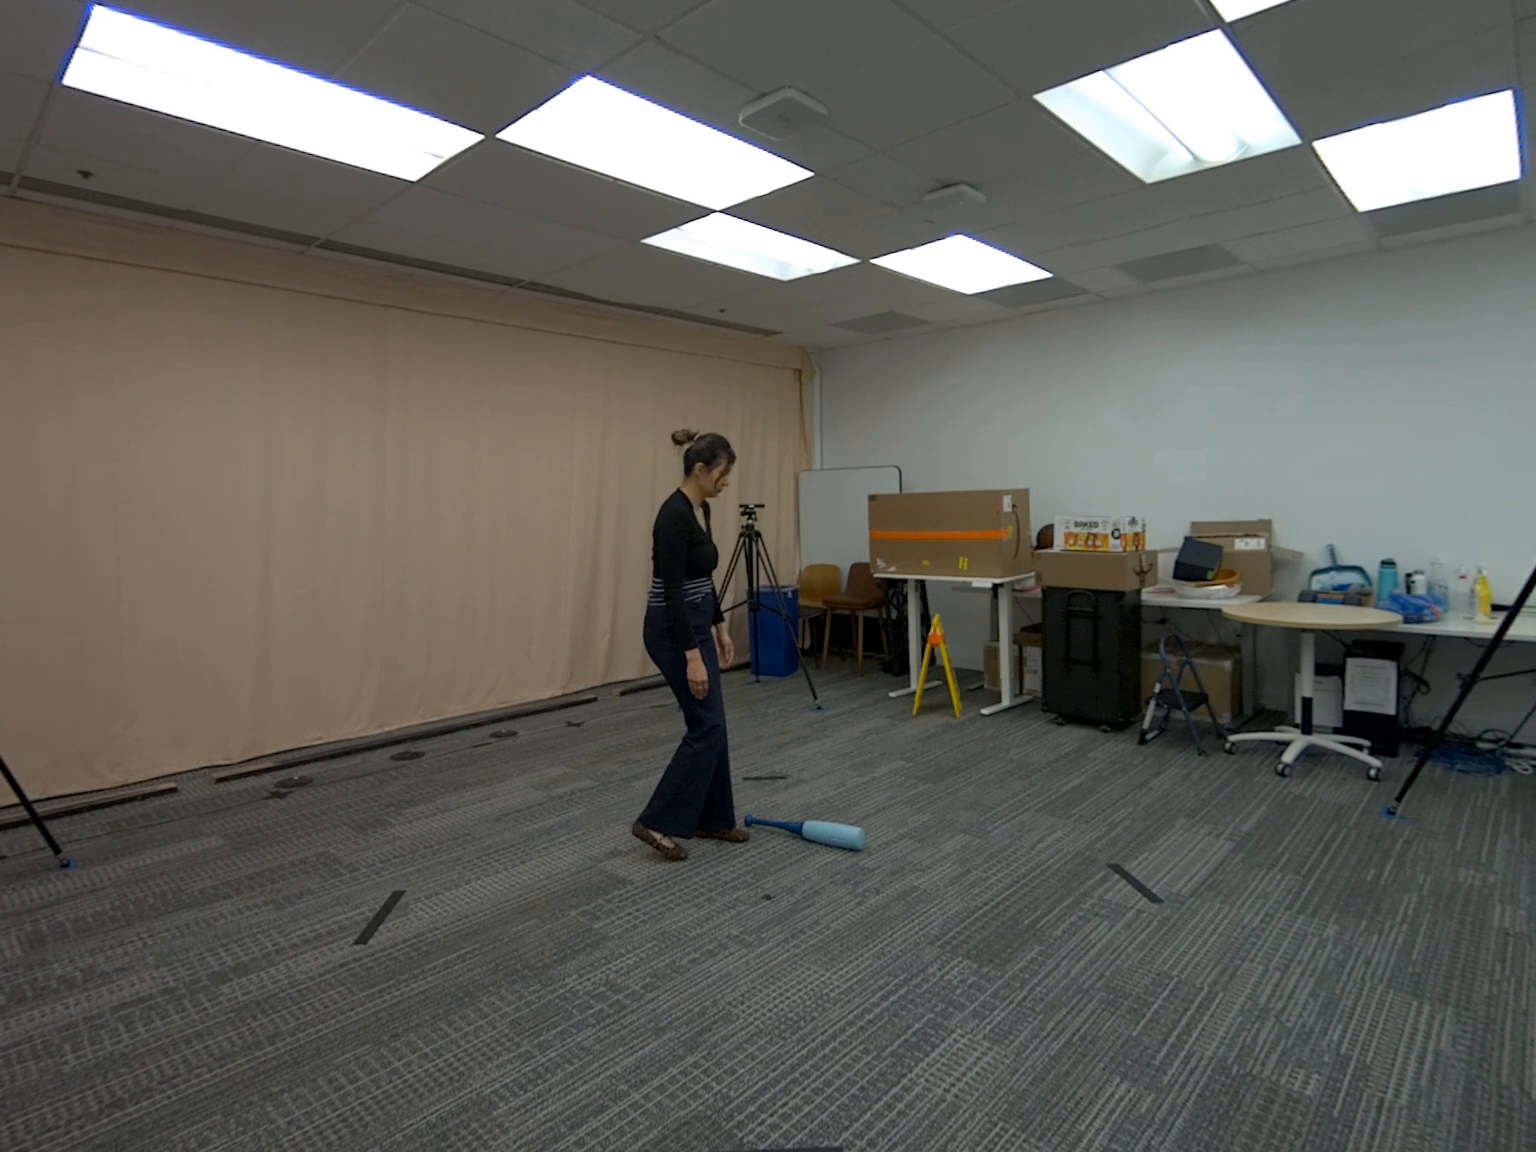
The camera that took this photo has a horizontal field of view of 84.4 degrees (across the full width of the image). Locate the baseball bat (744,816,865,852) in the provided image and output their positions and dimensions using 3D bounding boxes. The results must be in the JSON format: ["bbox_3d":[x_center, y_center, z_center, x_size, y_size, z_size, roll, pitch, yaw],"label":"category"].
[{"bbox_3d":[0.146,1.057,3.502,0.559,0.089,0.086,-2,3,32],"label":"baseball bat"}]
